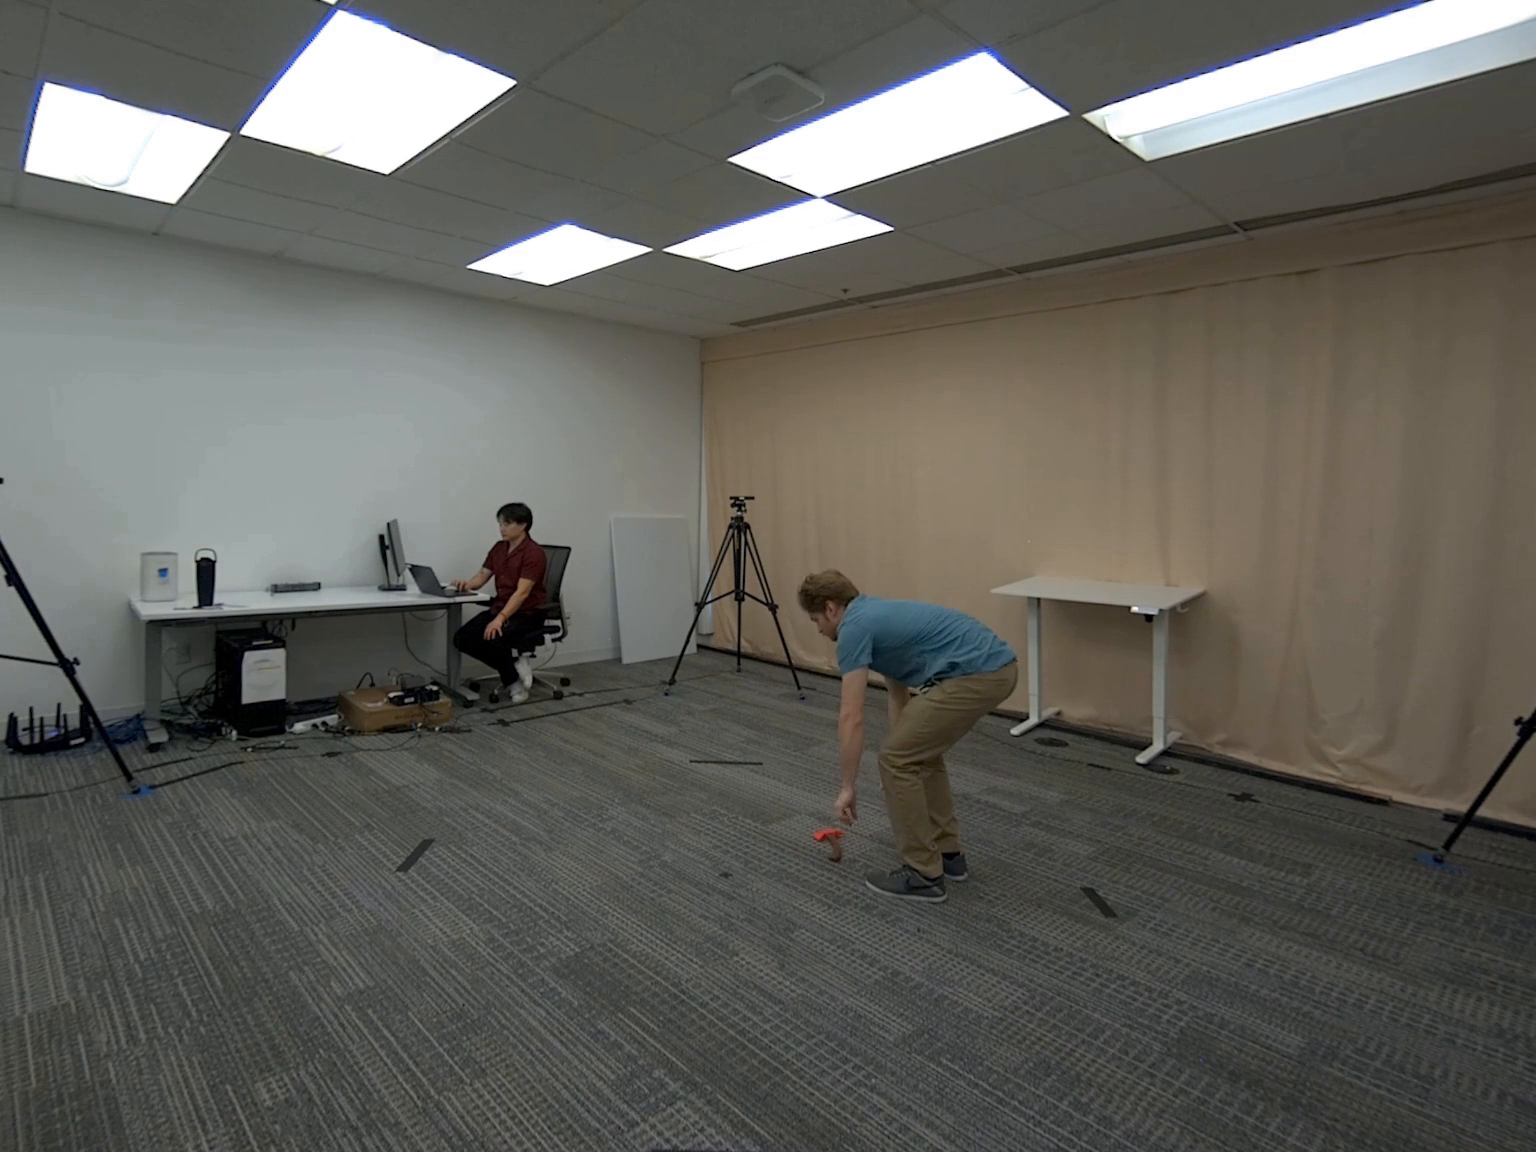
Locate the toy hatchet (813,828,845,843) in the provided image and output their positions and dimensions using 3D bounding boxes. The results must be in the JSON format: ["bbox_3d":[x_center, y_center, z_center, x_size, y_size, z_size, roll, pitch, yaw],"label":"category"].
[{"bbox_3d":[0.231,1.078,3.373,0.132,0.029,0.269,2,7,10],"label":"toy hatchet"}]
